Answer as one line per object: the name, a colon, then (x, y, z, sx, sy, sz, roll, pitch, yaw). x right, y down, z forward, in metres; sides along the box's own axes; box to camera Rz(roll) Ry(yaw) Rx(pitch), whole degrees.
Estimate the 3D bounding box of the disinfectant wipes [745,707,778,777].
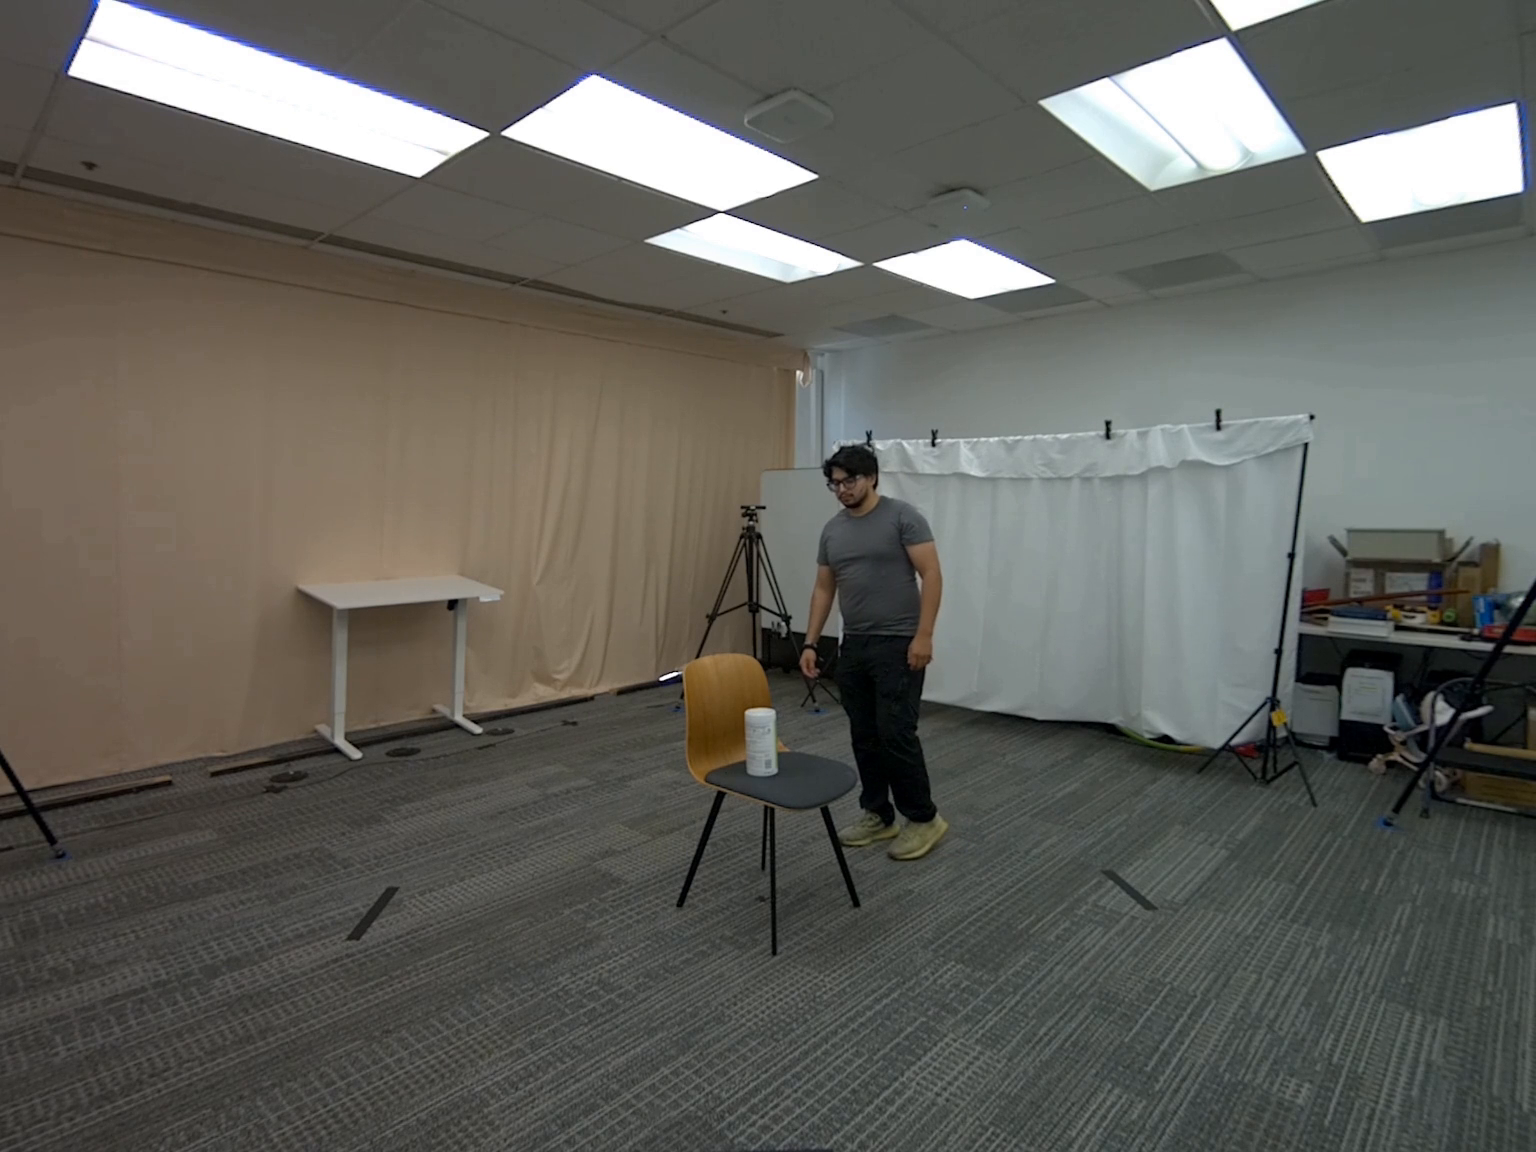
disinfectant wipes: (-0.024, 0.572, 2.906, 0.118, 0.217, 0.118, -1, 2, -2)
